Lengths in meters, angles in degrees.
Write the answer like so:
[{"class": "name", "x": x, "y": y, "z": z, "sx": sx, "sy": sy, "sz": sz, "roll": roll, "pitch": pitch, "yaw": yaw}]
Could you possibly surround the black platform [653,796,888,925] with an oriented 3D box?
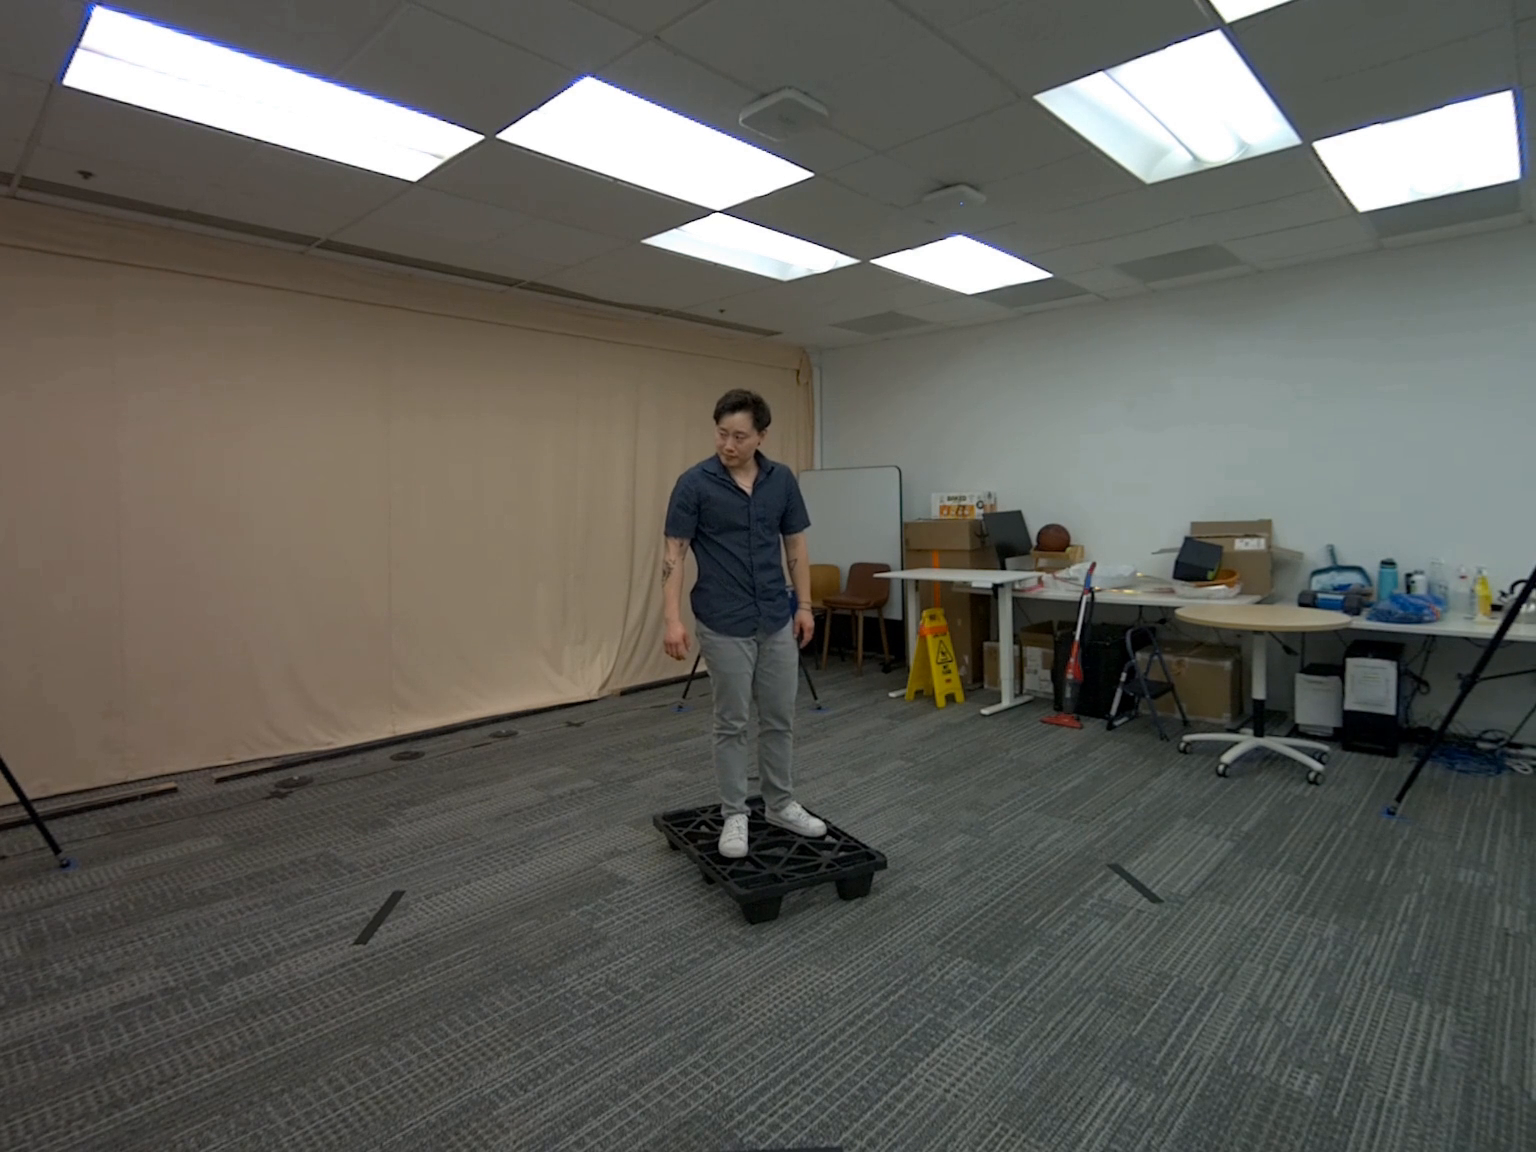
[{"class": "black platform", "x": -0.019, "y": 1.054, "z": 3.215, "sx": 0.590, "sy": 0.143, "sz": 0.827, "roll": -3, "pitch": 5, "yaw": -27}]
